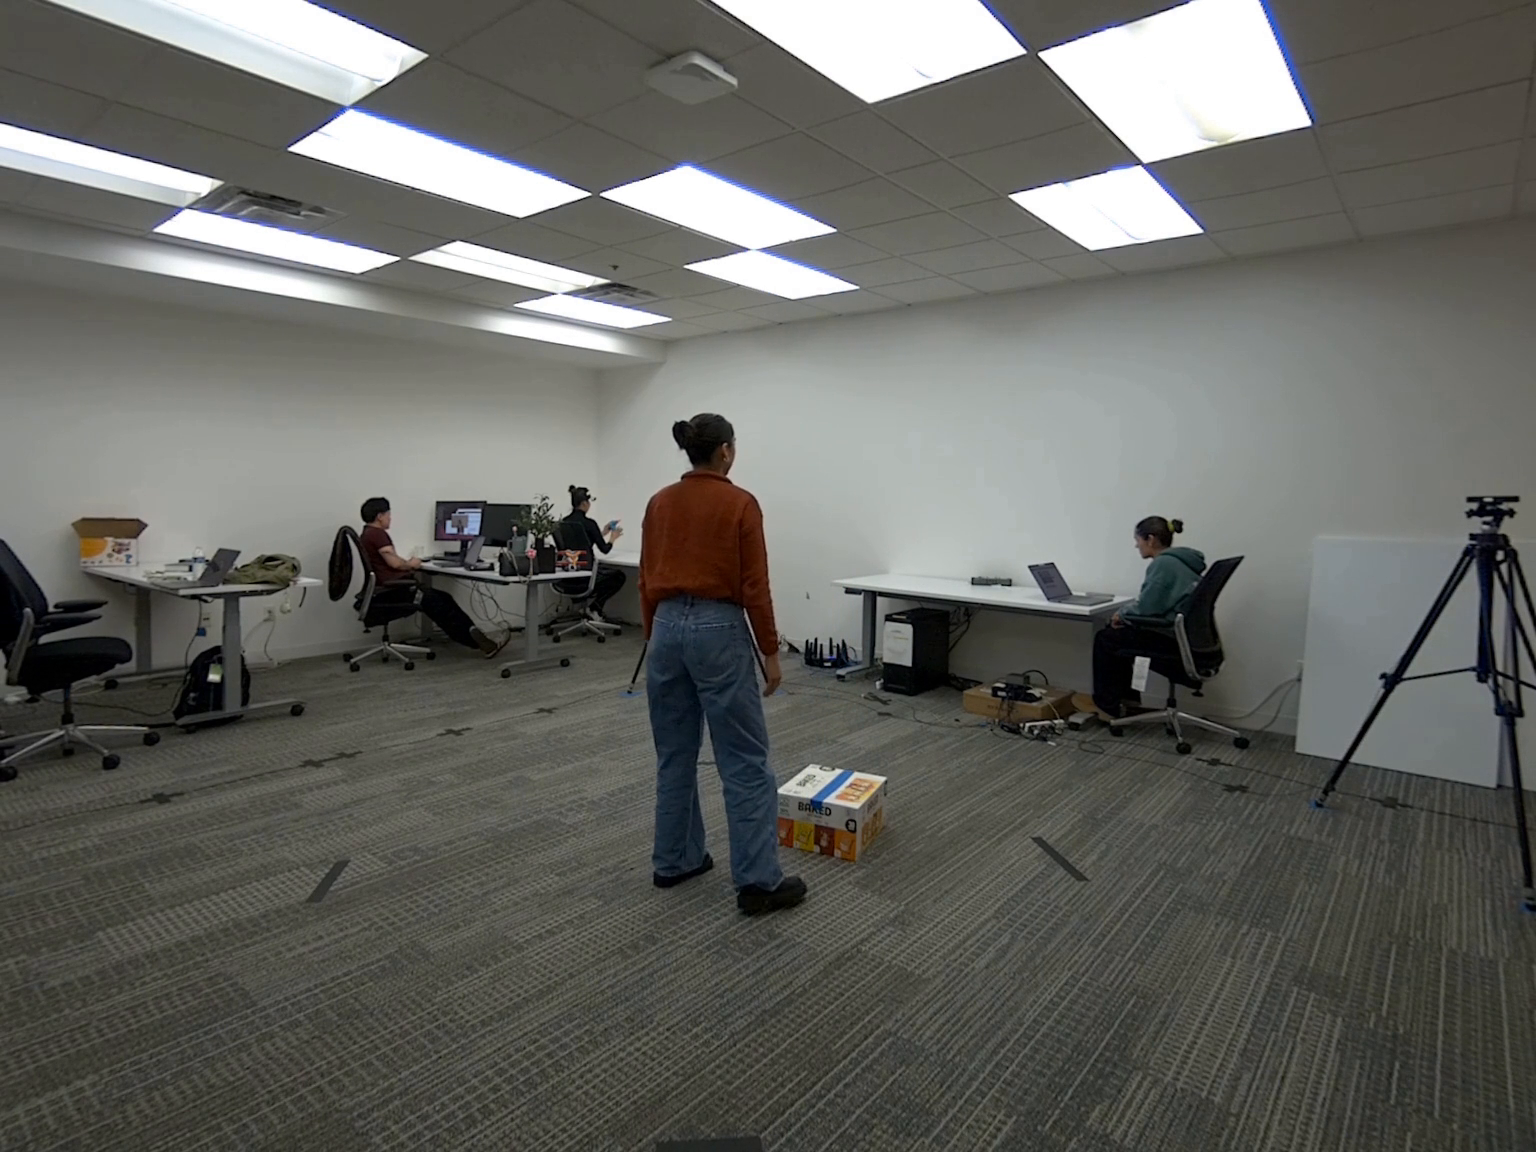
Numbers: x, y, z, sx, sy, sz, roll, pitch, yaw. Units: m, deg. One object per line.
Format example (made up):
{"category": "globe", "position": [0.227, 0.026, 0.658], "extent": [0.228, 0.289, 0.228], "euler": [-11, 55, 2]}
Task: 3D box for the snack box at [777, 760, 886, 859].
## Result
{"category": "snack box", "position": [0.253, 0.935, 3.431], "extent": [0.349, 0.205, 0.396], "euler": [4, 6, 25]}
